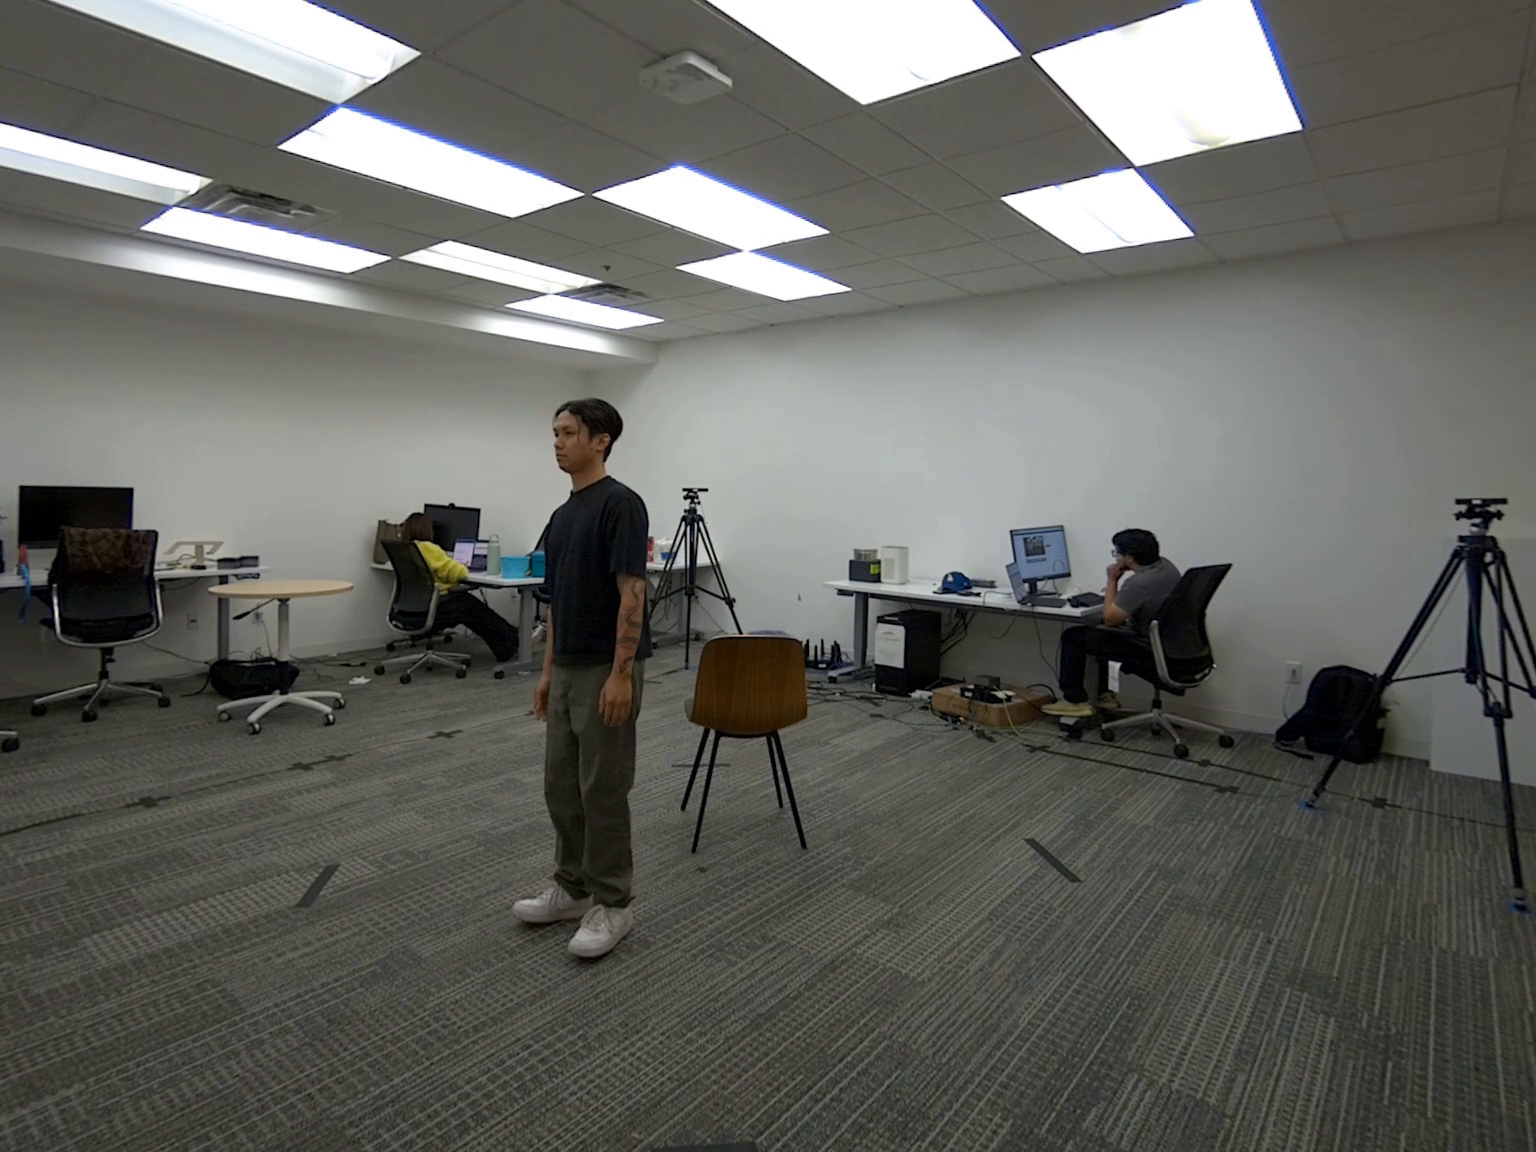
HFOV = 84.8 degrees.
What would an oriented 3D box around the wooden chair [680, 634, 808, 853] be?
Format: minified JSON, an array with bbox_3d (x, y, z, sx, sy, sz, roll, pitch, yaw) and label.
[{"bbox_3d":[-0.122,0.607,3.475,0.473,0.872,0.532,0,7,-10],"label":"wooden chair"}]
